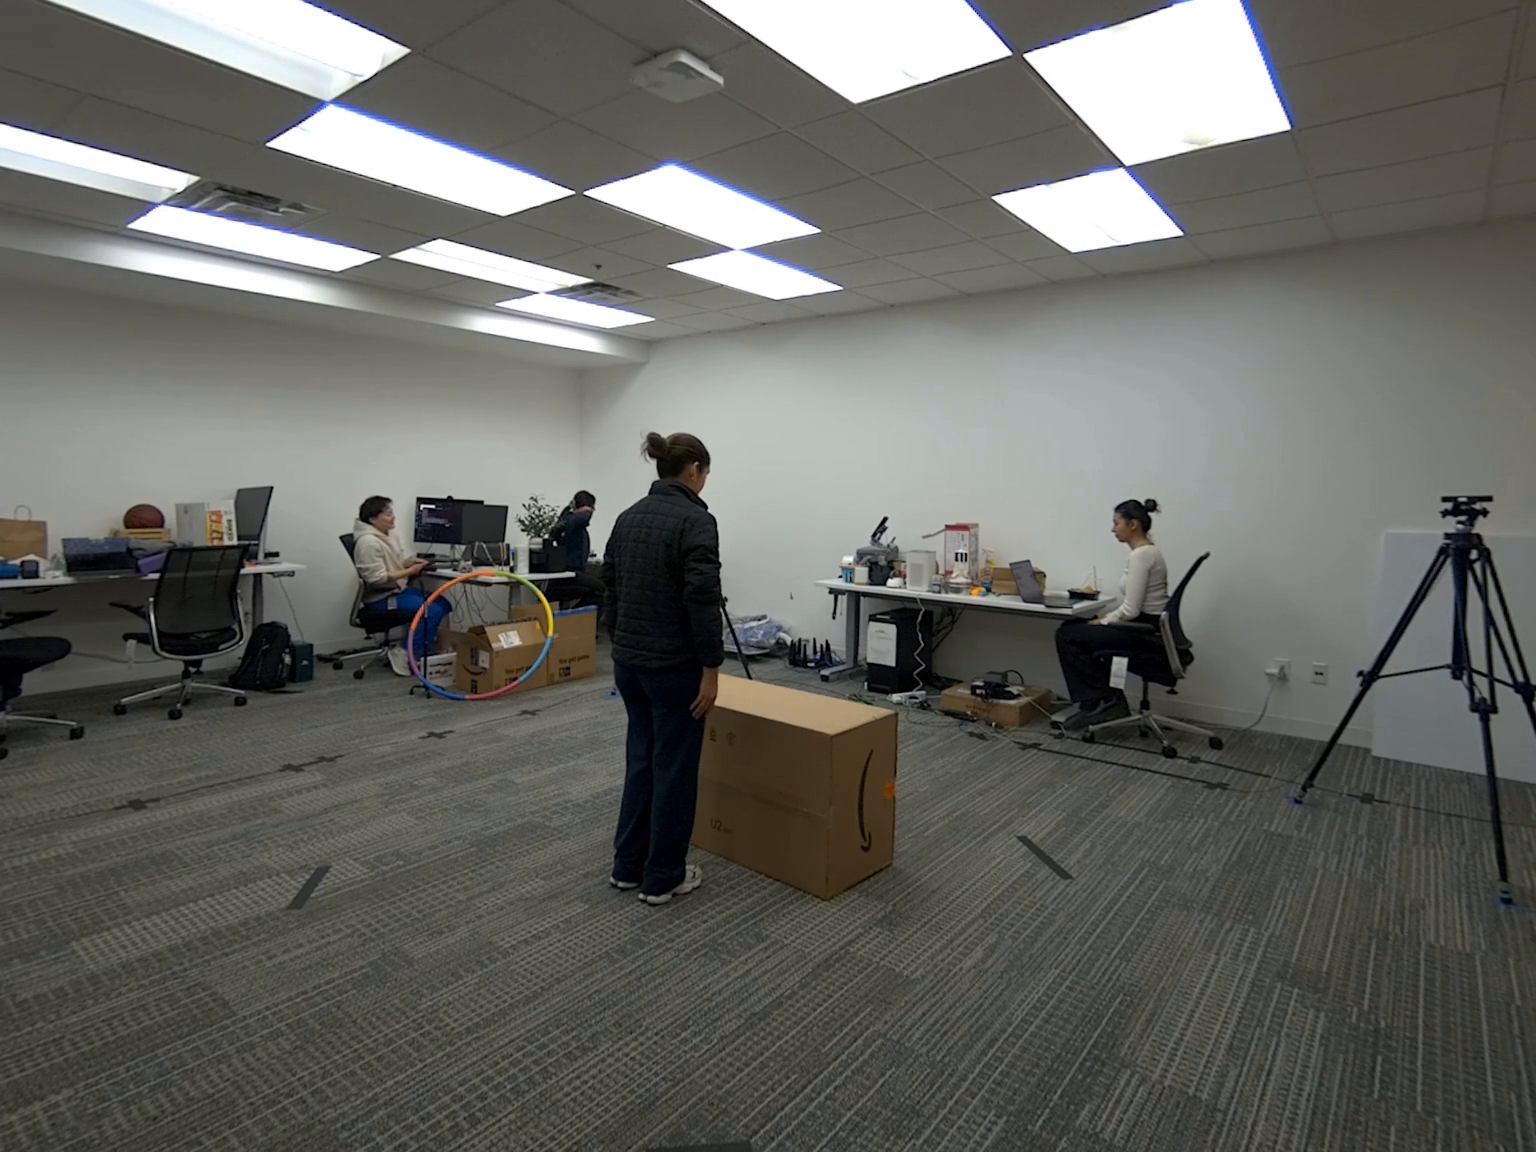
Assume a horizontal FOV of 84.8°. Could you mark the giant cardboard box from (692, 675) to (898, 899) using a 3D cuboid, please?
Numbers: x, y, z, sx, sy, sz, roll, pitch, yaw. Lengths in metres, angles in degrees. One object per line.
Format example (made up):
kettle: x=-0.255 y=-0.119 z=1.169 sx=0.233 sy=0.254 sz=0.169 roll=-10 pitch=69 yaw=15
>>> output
giant cardboard box: x=-0.031 y=0.757 z=3.372 sx=1.062 sy=0.581 sz=0.434 roll=6 pitch=7 yaw=43
